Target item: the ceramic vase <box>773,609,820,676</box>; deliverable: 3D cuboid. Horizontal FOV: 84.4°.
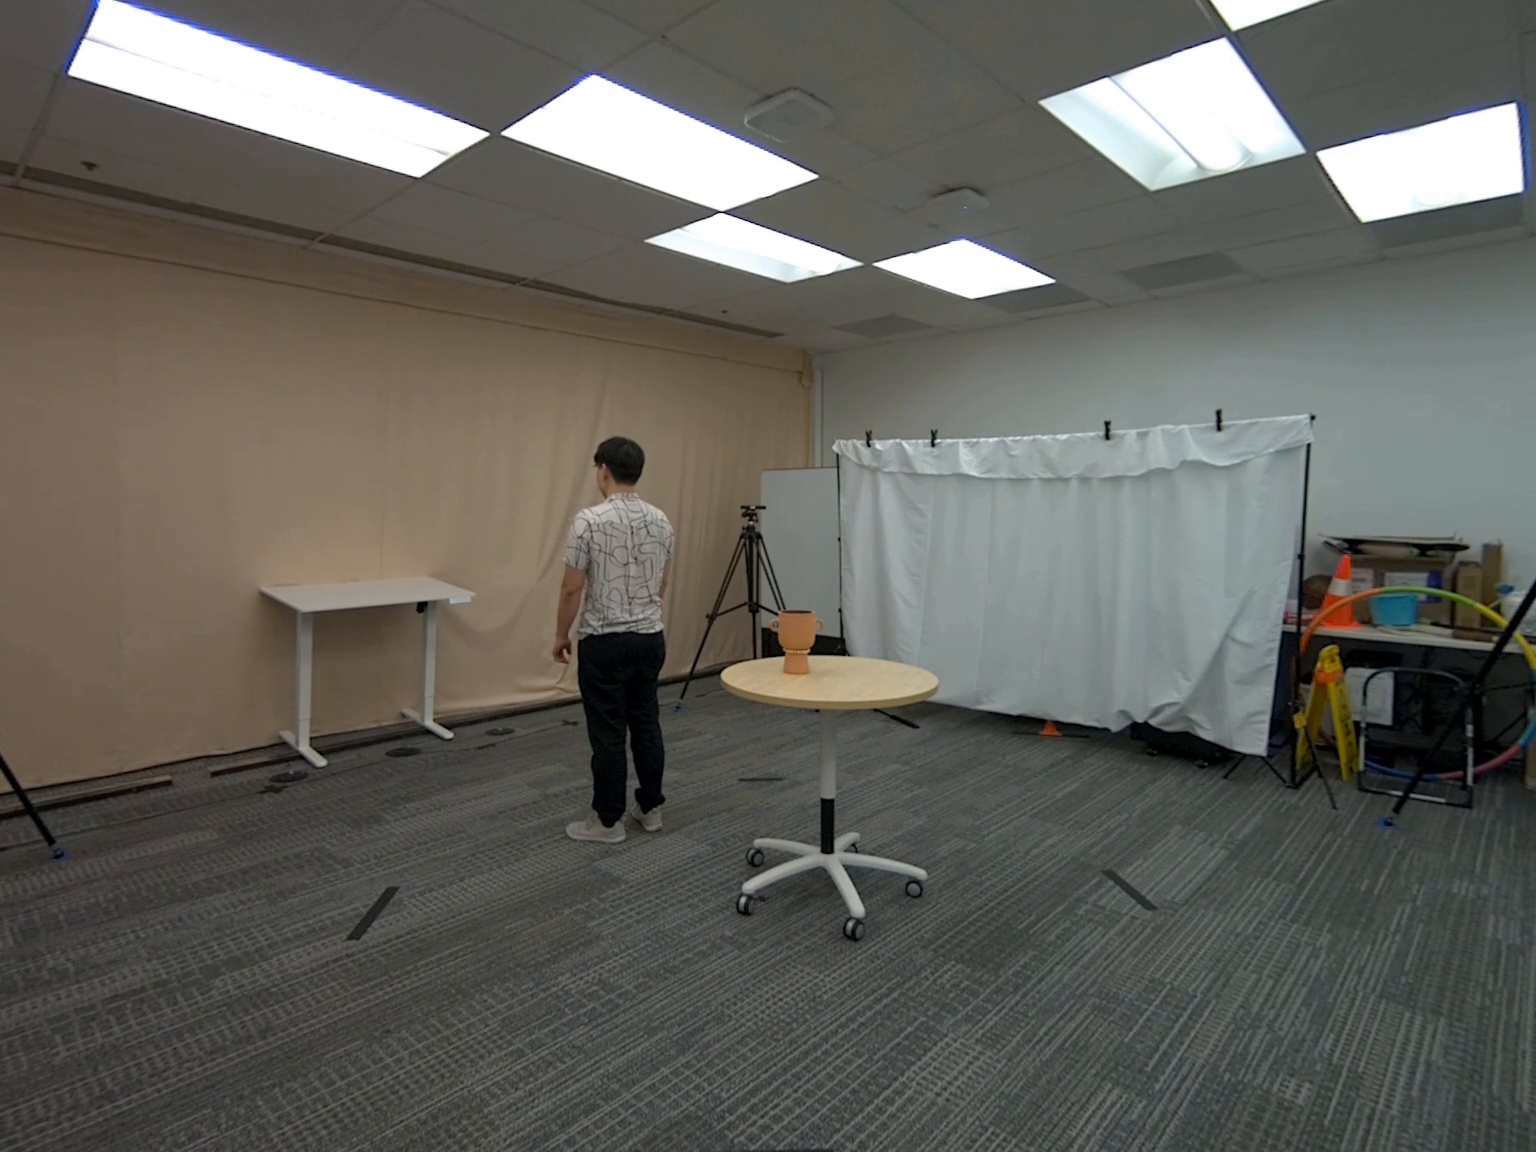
[{"bbox_3d":[0.112,0.243,3.064,0.164,0.219,0.131,3,4,35],"label":"ceramic vase"}]
